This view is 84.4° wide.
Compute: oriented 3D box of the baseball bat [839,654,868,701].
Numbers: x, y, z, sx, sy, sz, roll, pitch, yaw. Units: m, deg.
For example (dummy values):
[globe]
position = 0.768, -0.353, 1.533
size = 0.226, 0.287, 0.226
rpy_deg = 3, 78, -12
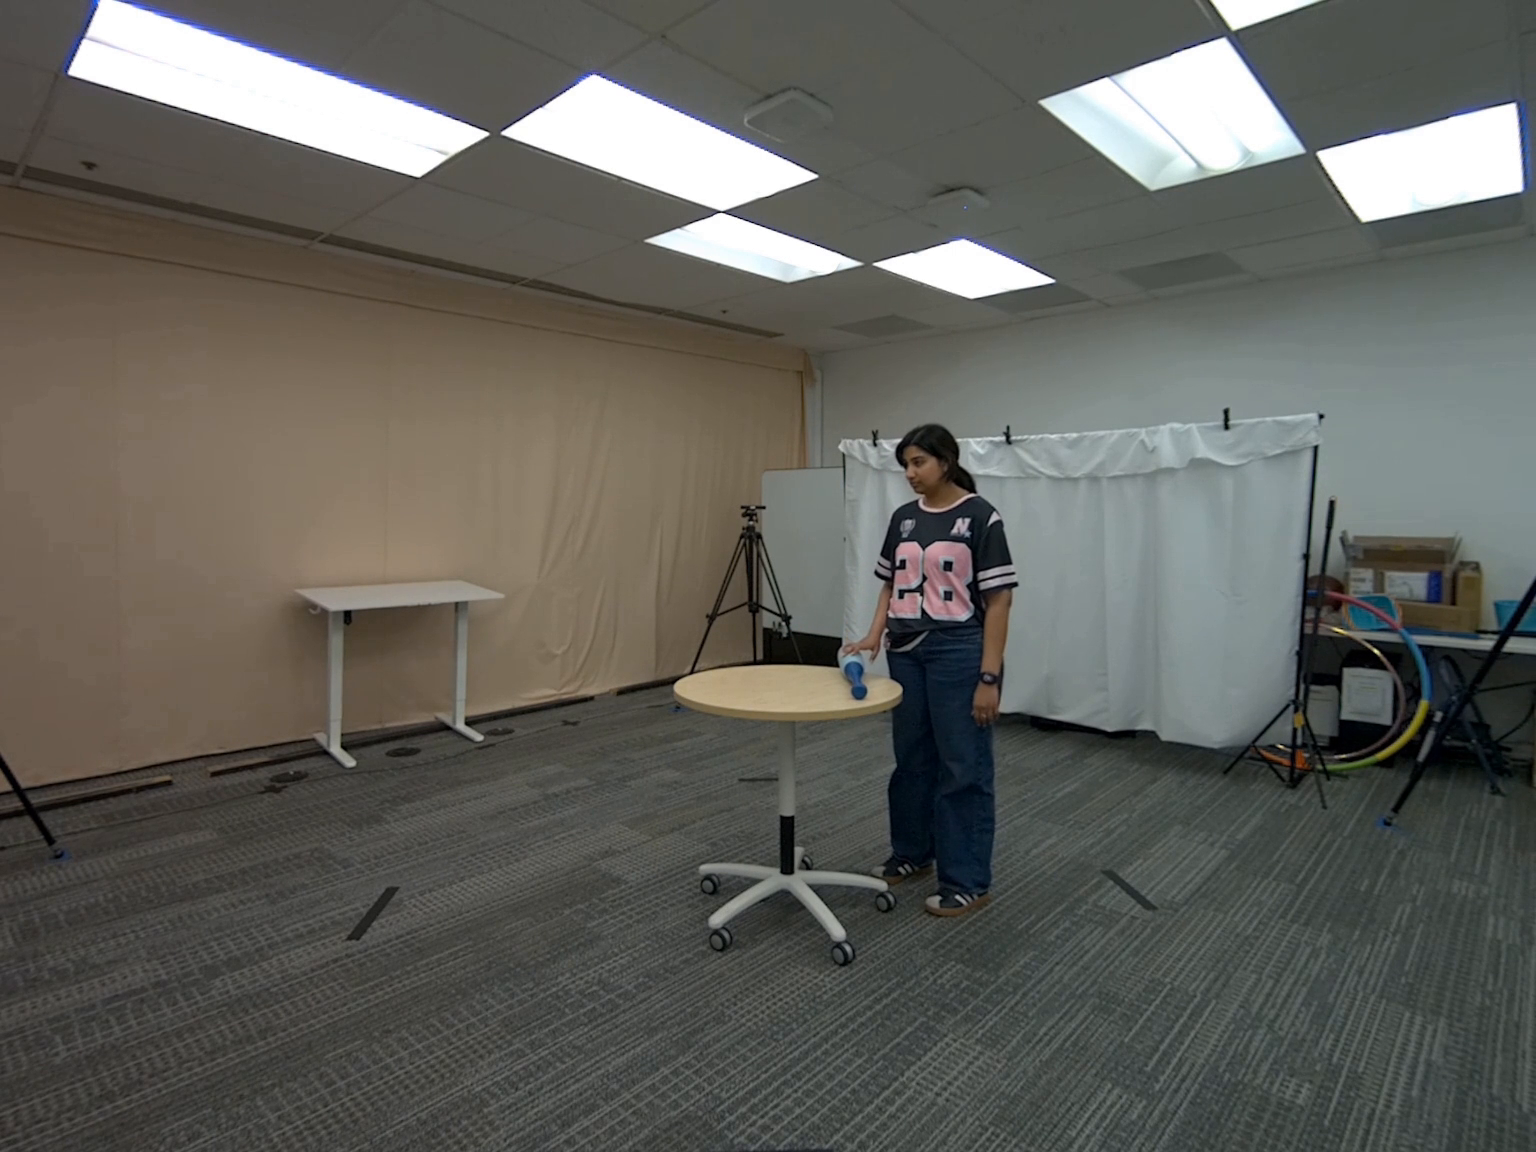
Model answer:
[baseball bat]
position = 0.304, 0.334, 2.883
size = 0.089, 0.088, 0.544
rpy_deg = 0, 8, 0
